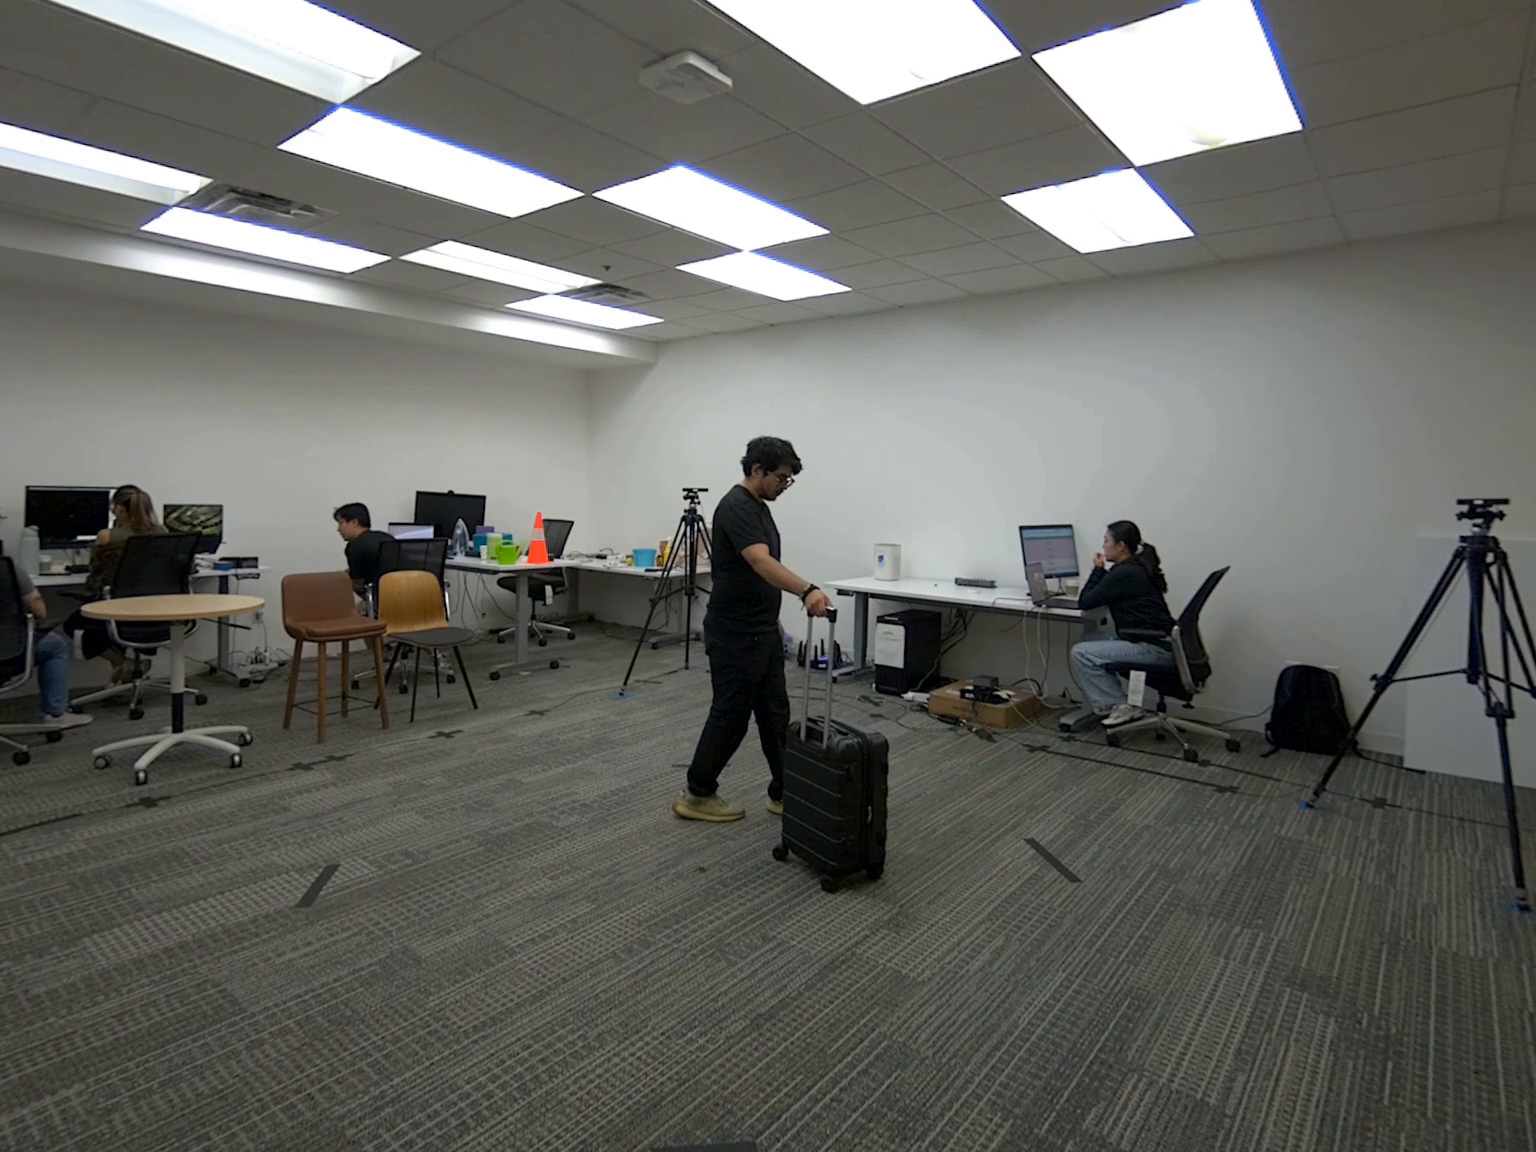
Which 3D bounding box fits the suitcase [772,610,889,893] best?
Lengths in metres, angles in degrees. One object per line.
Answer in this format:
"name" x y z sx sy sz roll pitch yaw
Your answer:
"suitcase" 0.257 0.604 3.112 0.249 0.975 0.397 3 5 -32
